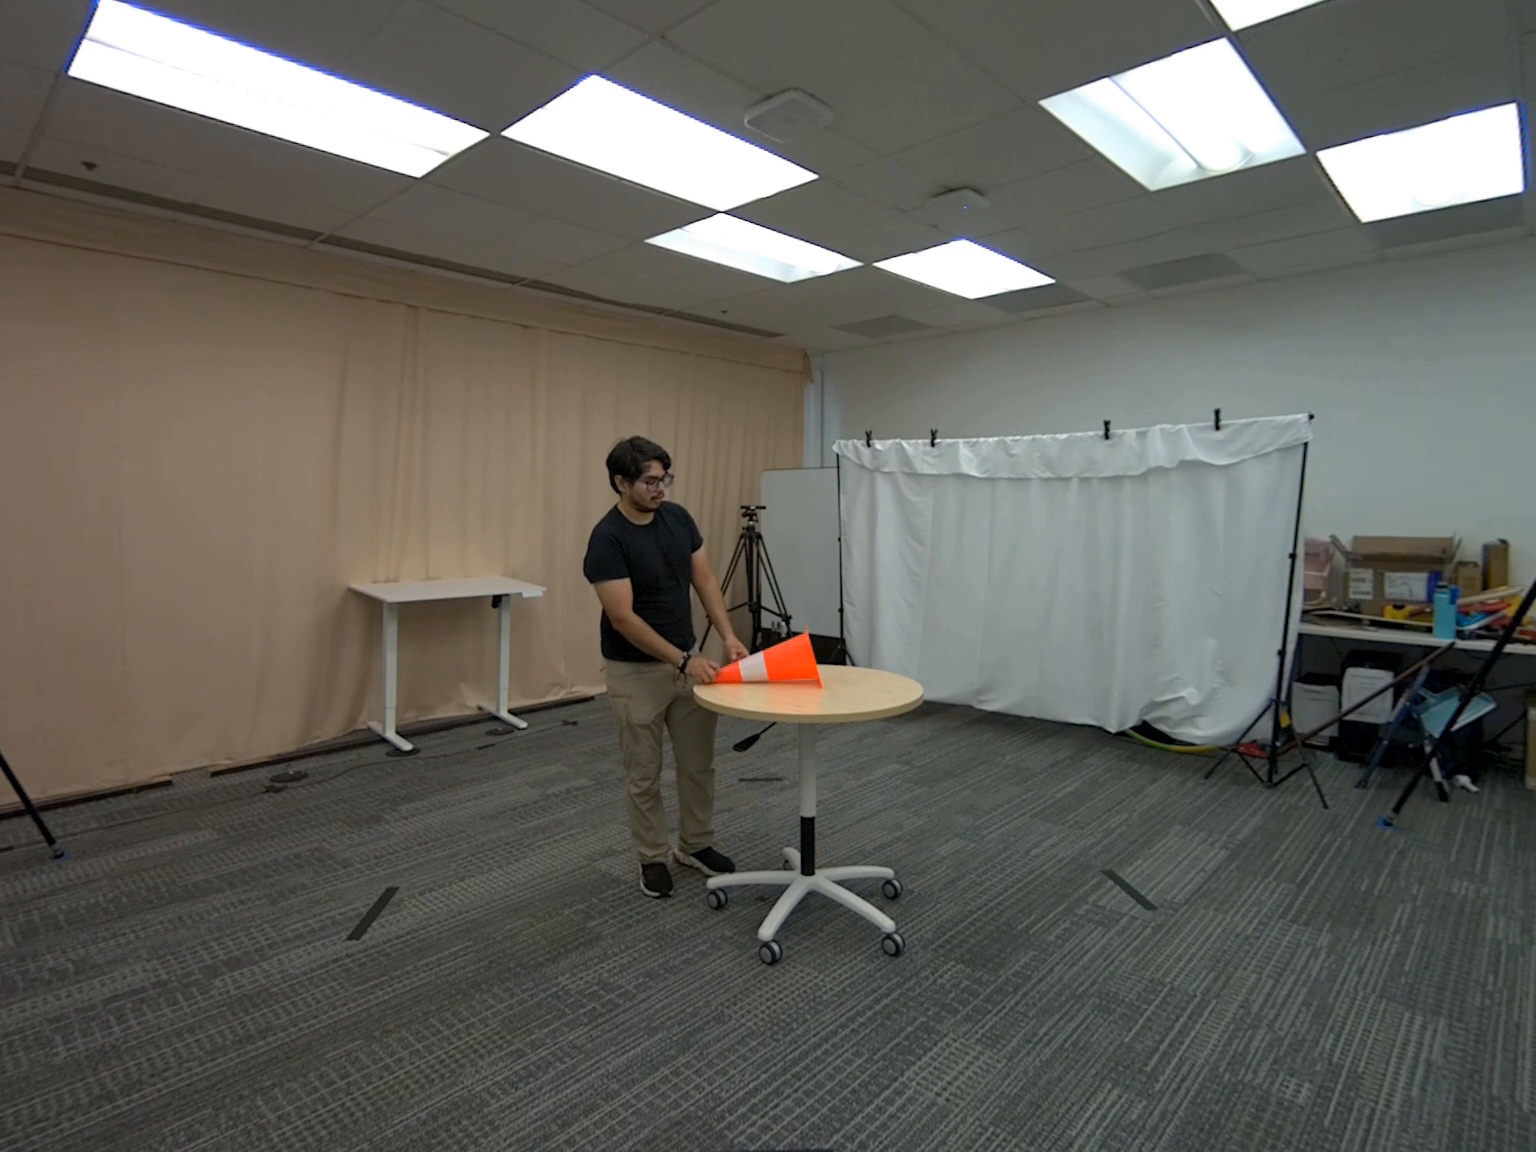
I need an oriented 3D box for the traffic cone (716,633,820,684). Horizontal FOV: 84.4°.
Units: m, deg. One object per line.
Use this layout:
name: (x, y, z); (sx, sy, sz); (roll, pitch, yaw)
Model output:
traffic cone: (-0.020, 0.313, 2.890); (0.383, 0.202, 0.206); (-12, 5, -2)
